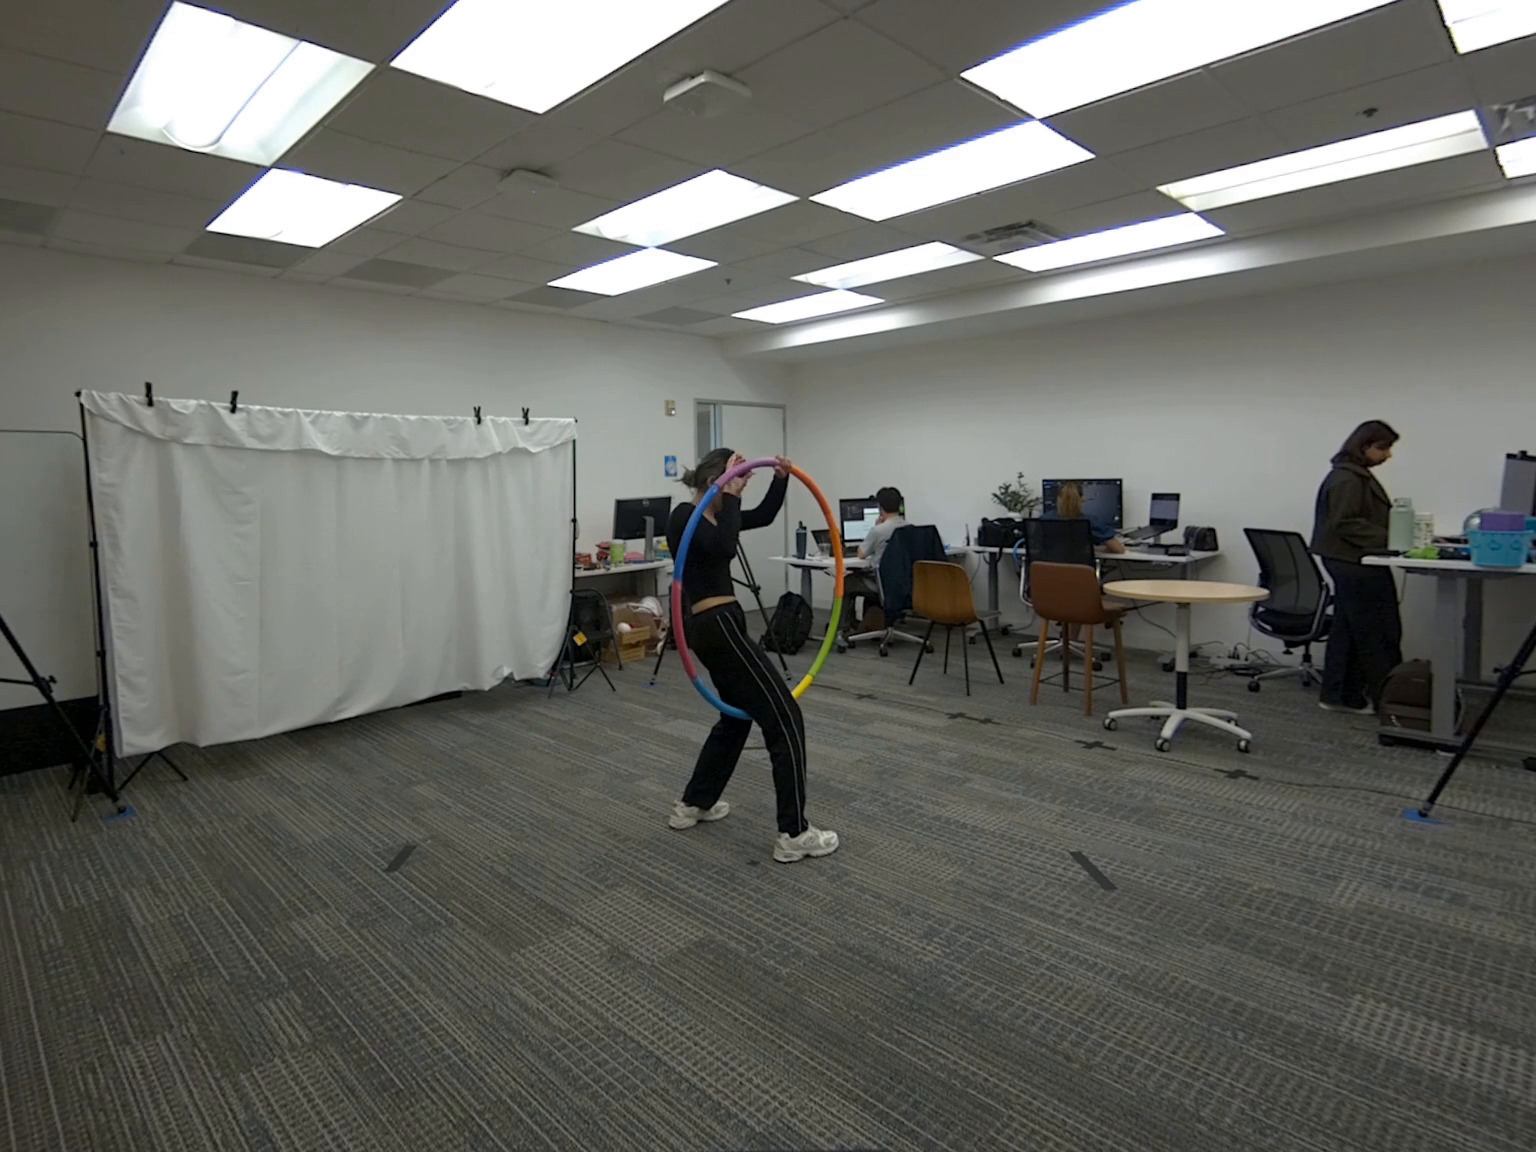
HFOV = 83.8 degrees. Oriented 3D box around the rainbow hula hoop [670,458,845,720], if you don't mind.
[{"bbox_3d":[-0.009,0.041,3.283,0.036,0.975,0.953,2,6,43],"label":"rainbow hula hoop"}]
